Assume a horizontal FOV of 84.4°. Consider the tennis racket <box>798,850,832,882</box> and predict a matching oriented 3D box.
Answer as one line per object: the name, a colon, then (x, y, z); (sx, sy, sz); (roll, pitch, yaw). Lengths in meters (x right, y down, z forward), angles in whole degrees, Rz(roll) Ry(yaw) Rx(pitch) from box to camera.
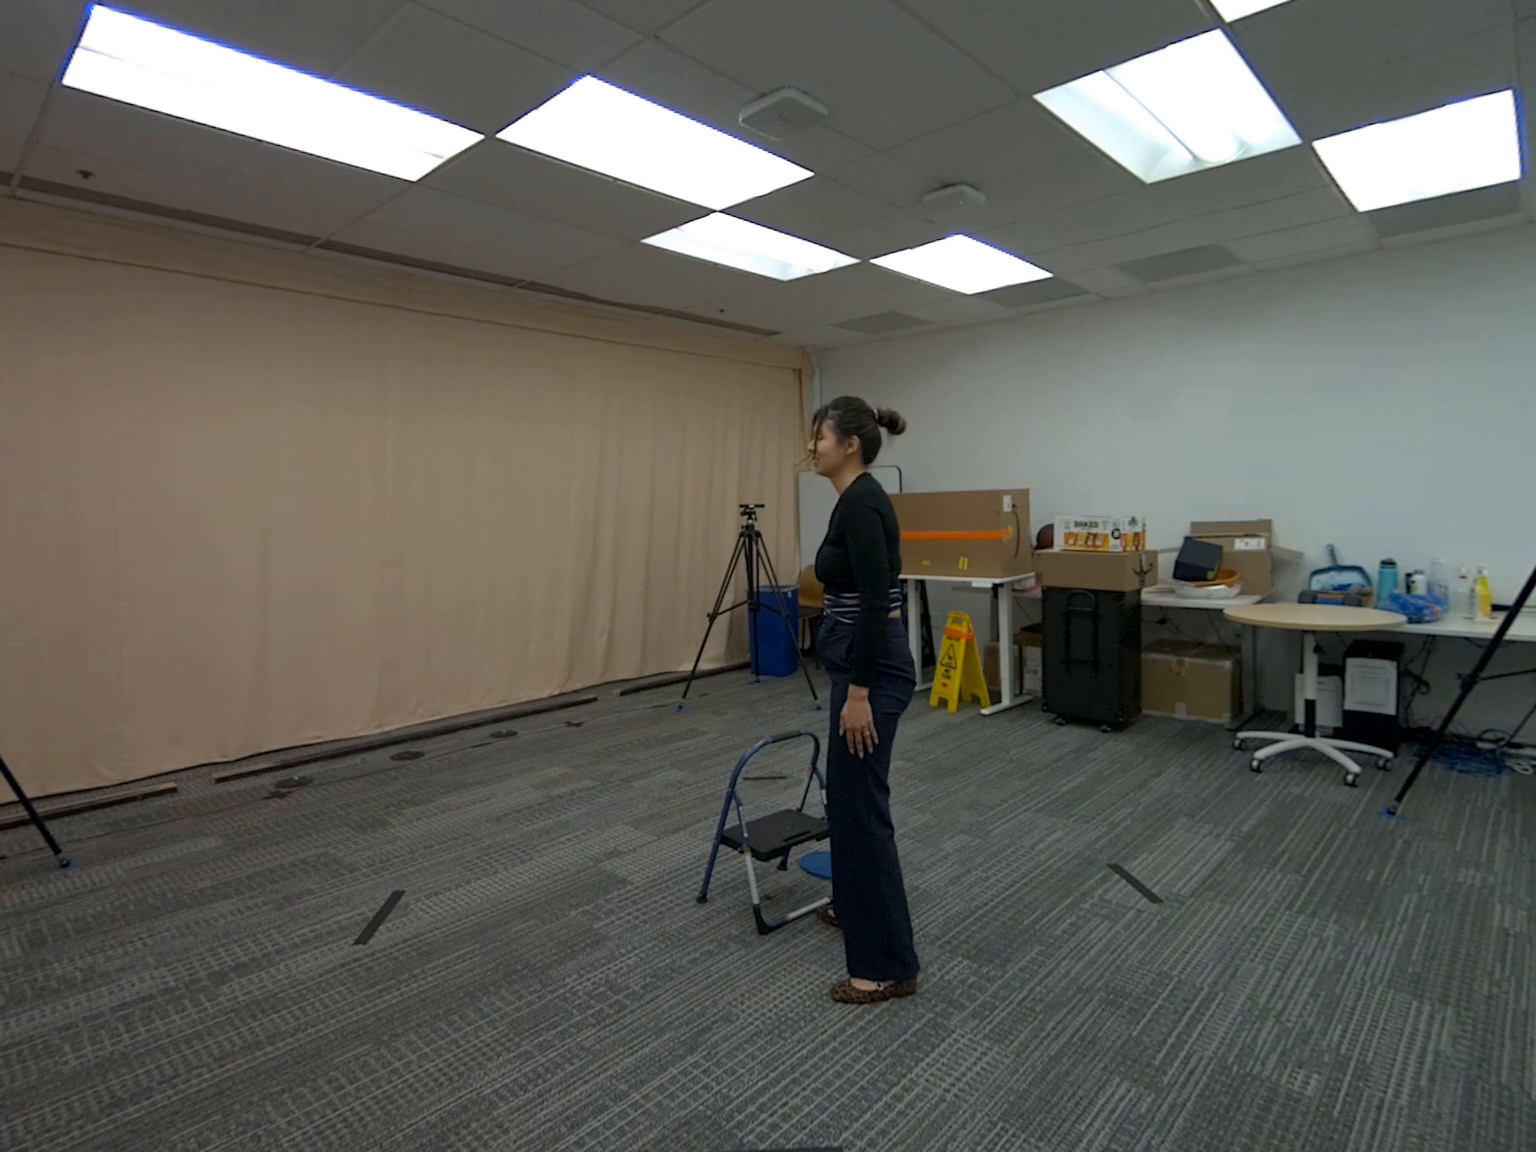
tennis racket: (0.291, 1.102, 3.147); (0.207, 0.032, 0.447); (-5, 5, -40)
